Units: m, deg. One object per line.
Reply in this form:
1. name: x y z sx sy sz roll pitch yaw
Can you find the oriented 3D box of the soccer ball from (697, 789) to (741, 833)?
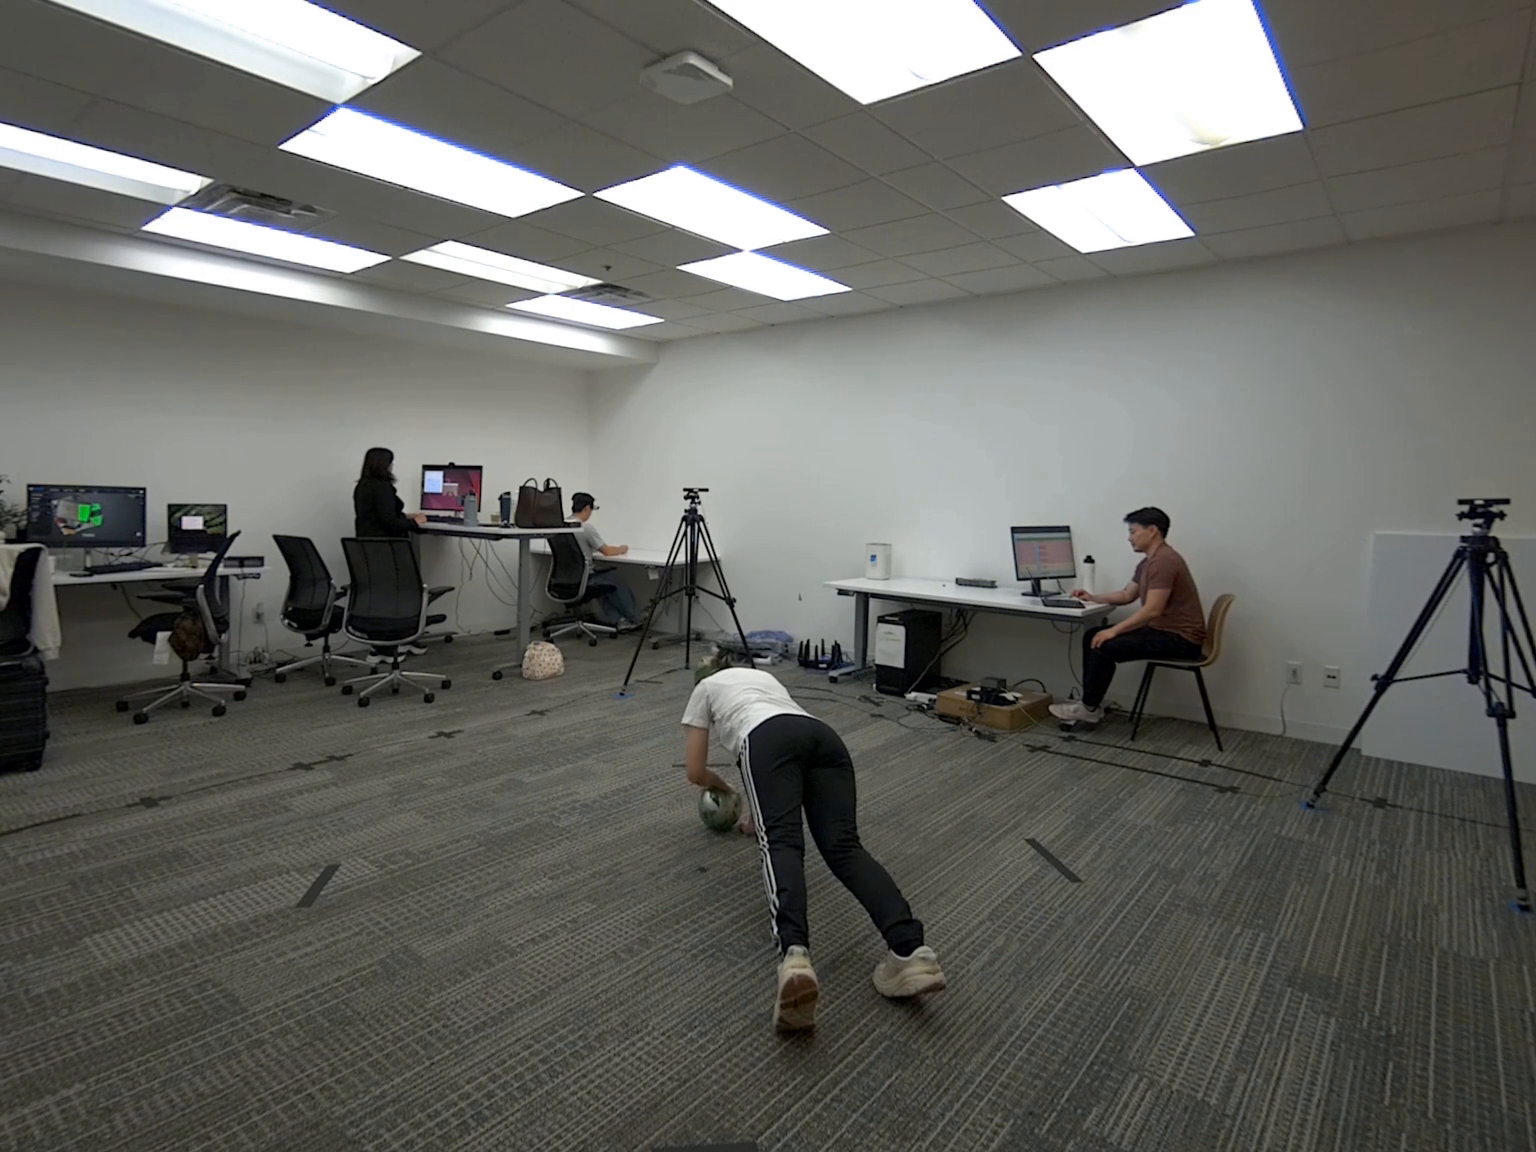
1. soccer ball: -0.208 0.936 3.493 0.187 0.187 0.188 1 4 -2
